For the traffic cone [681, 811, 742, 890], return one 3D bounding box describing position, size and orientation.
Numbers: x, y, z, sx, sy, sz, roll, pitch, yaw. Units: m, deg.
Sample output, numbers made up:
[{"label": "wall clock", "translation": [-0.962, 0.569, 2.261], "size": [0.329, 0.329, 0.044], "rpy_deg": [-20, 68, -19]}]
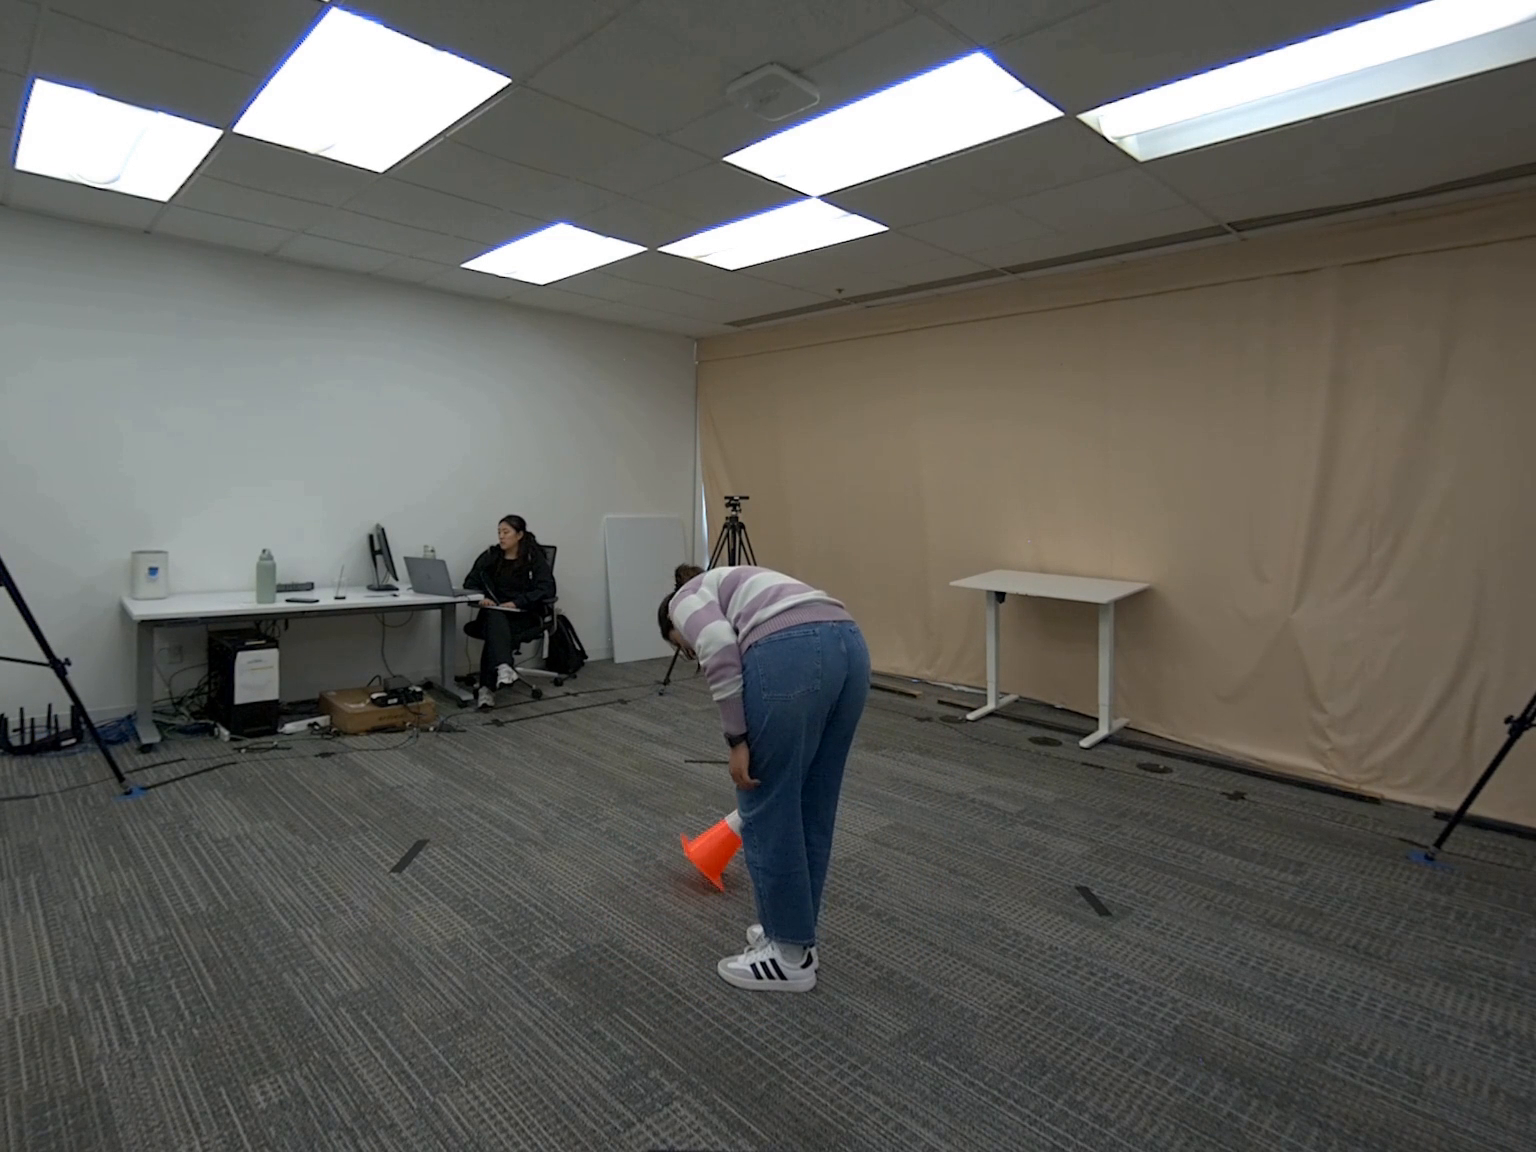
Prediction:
[{"label": "traffic cone", "translation": [-0.102, 0.903, 3.046], "size": [0.383, 0.202, 0.206], "rpy_deg": [-43, 14, -1]}]
